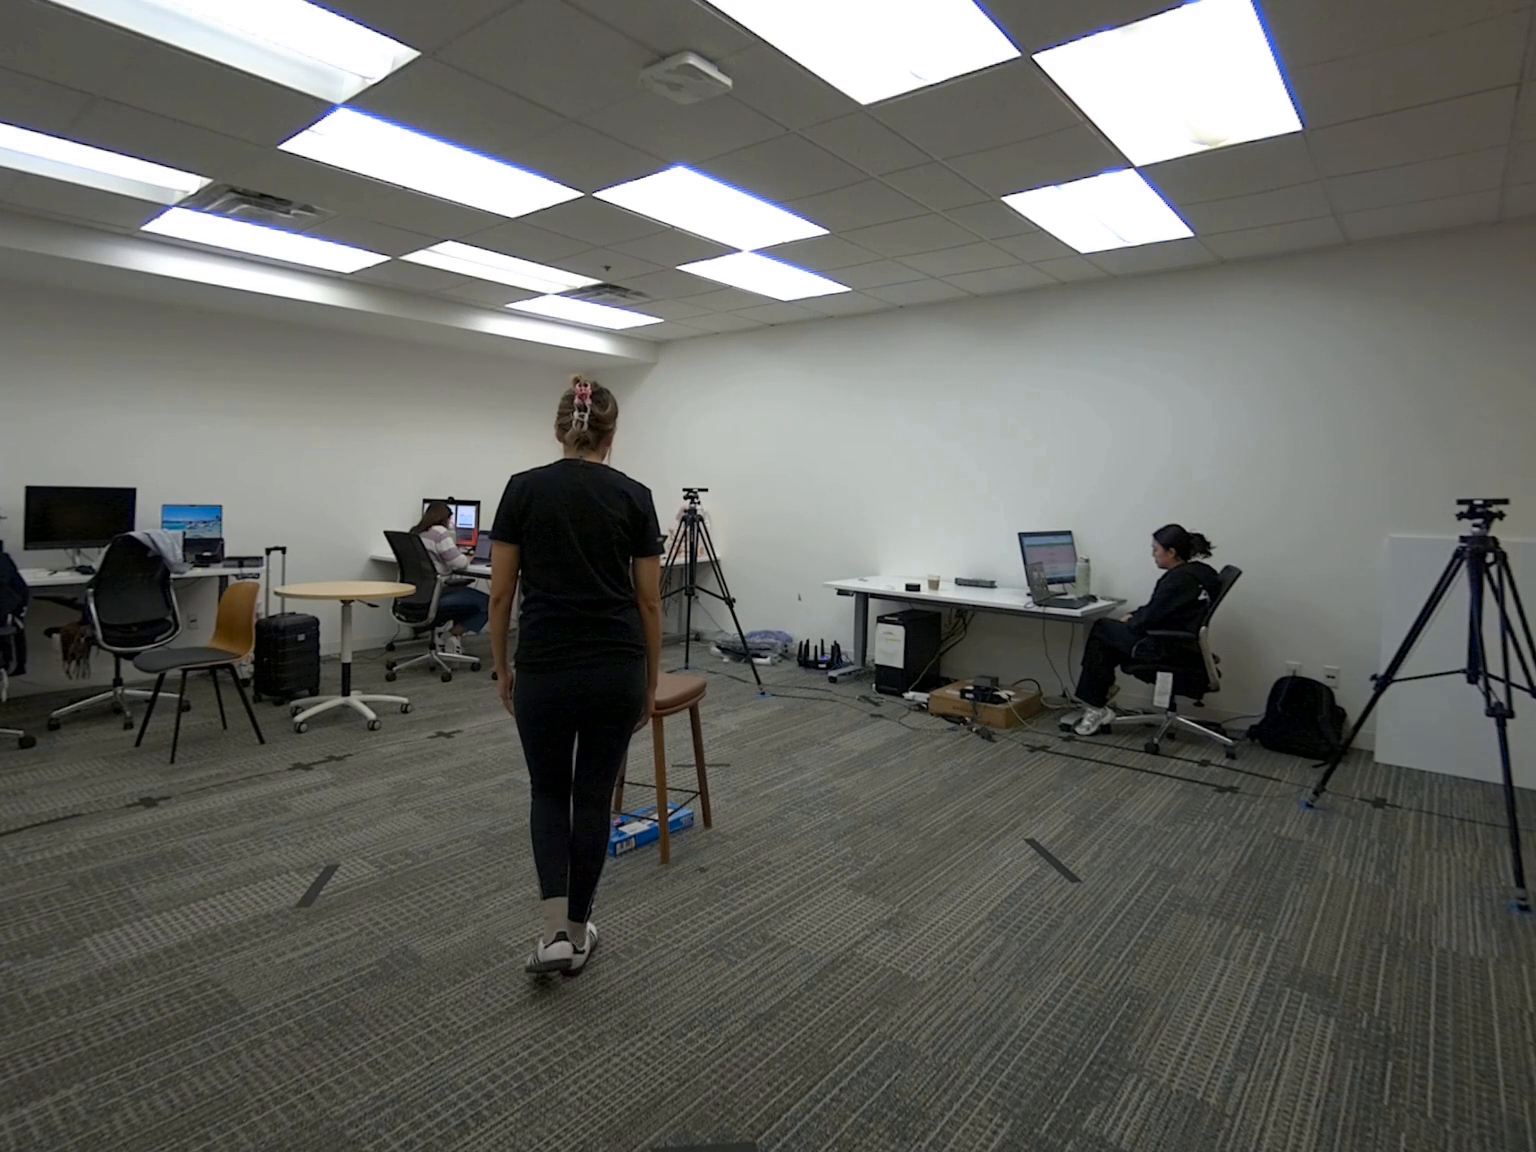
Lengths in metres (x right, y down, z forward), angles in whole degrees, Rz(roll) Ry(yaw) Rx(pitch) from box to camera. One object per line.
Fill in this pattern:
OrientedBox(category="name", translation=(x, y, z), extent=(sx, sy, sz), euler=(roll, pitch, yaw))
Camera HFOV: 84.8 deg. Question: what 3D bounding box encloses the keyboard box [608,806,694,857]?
OrientedBox(category="keyboard box", translation=(-0.521, 1.010, 3.413), extent=(0.182, 0.059, 0.424), euler=(5, 7, 40))
